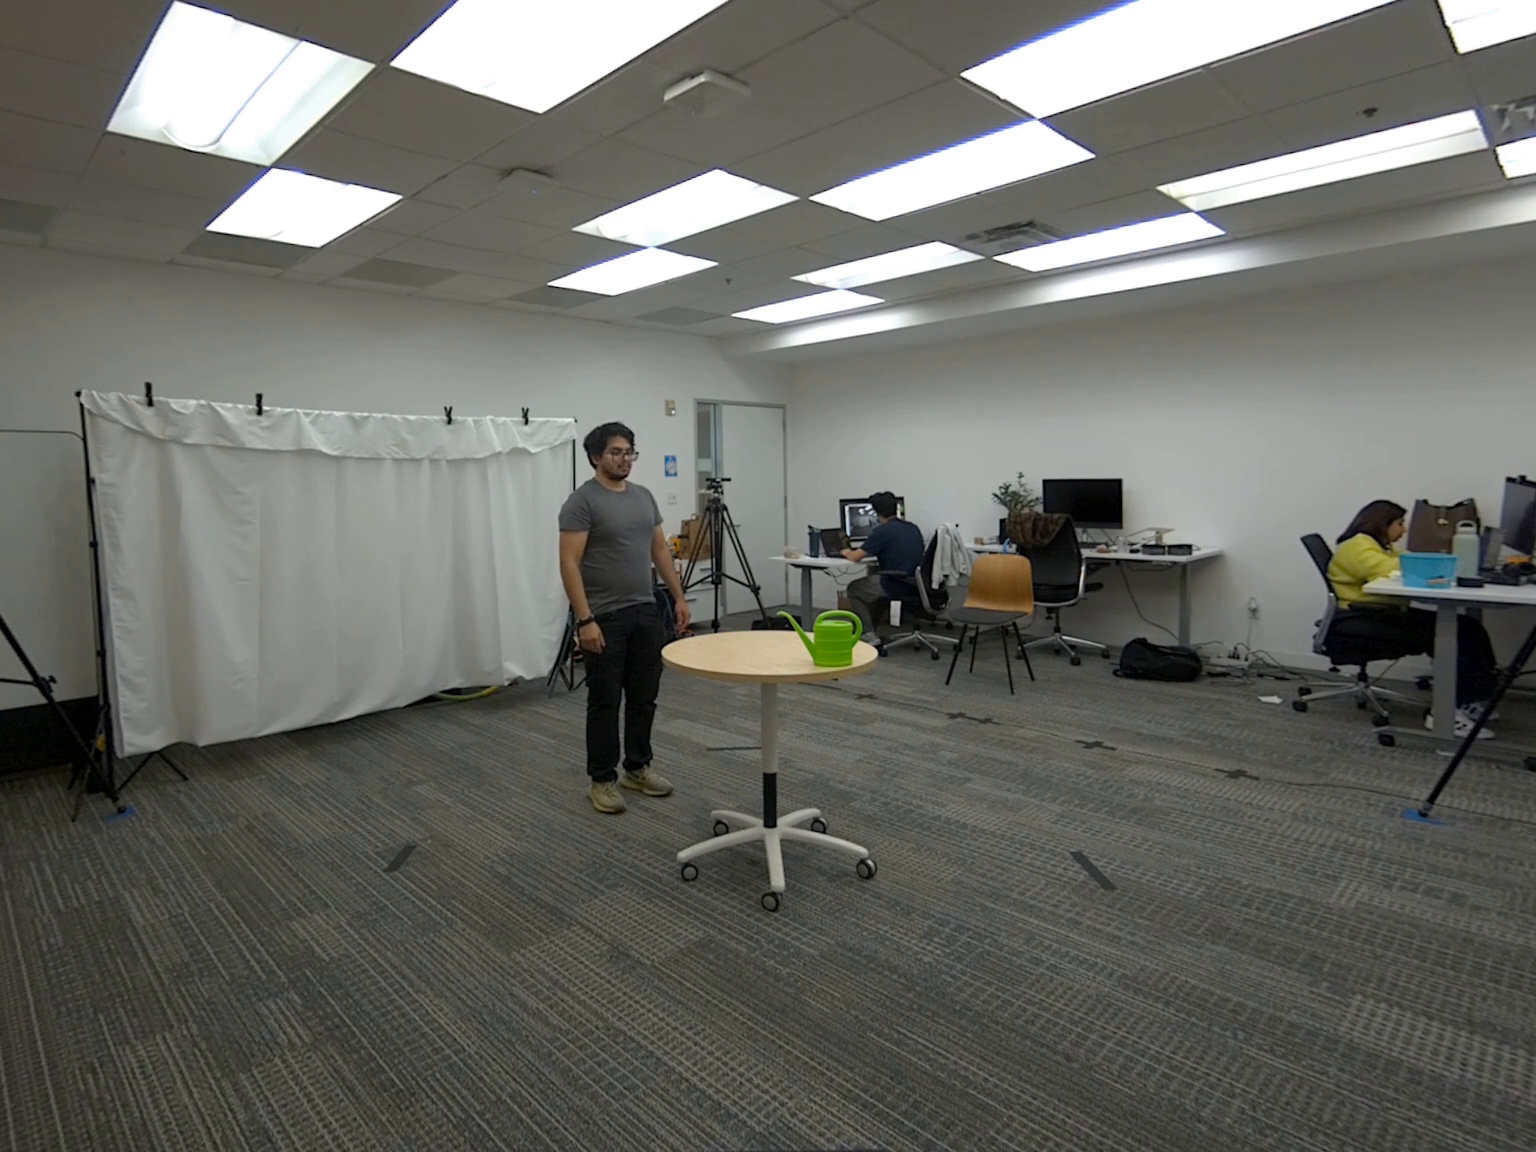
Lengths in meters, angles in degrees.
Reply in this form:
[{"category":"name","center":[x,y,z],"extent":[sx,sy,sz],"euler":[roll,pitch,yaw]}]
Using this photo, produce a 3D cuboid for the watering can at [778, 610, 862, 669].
[{"category":"watering can","center":[0.177,0.204,2.817],"extent":[0.279,0.176,0.098],"euler":[1,5,4]}]
